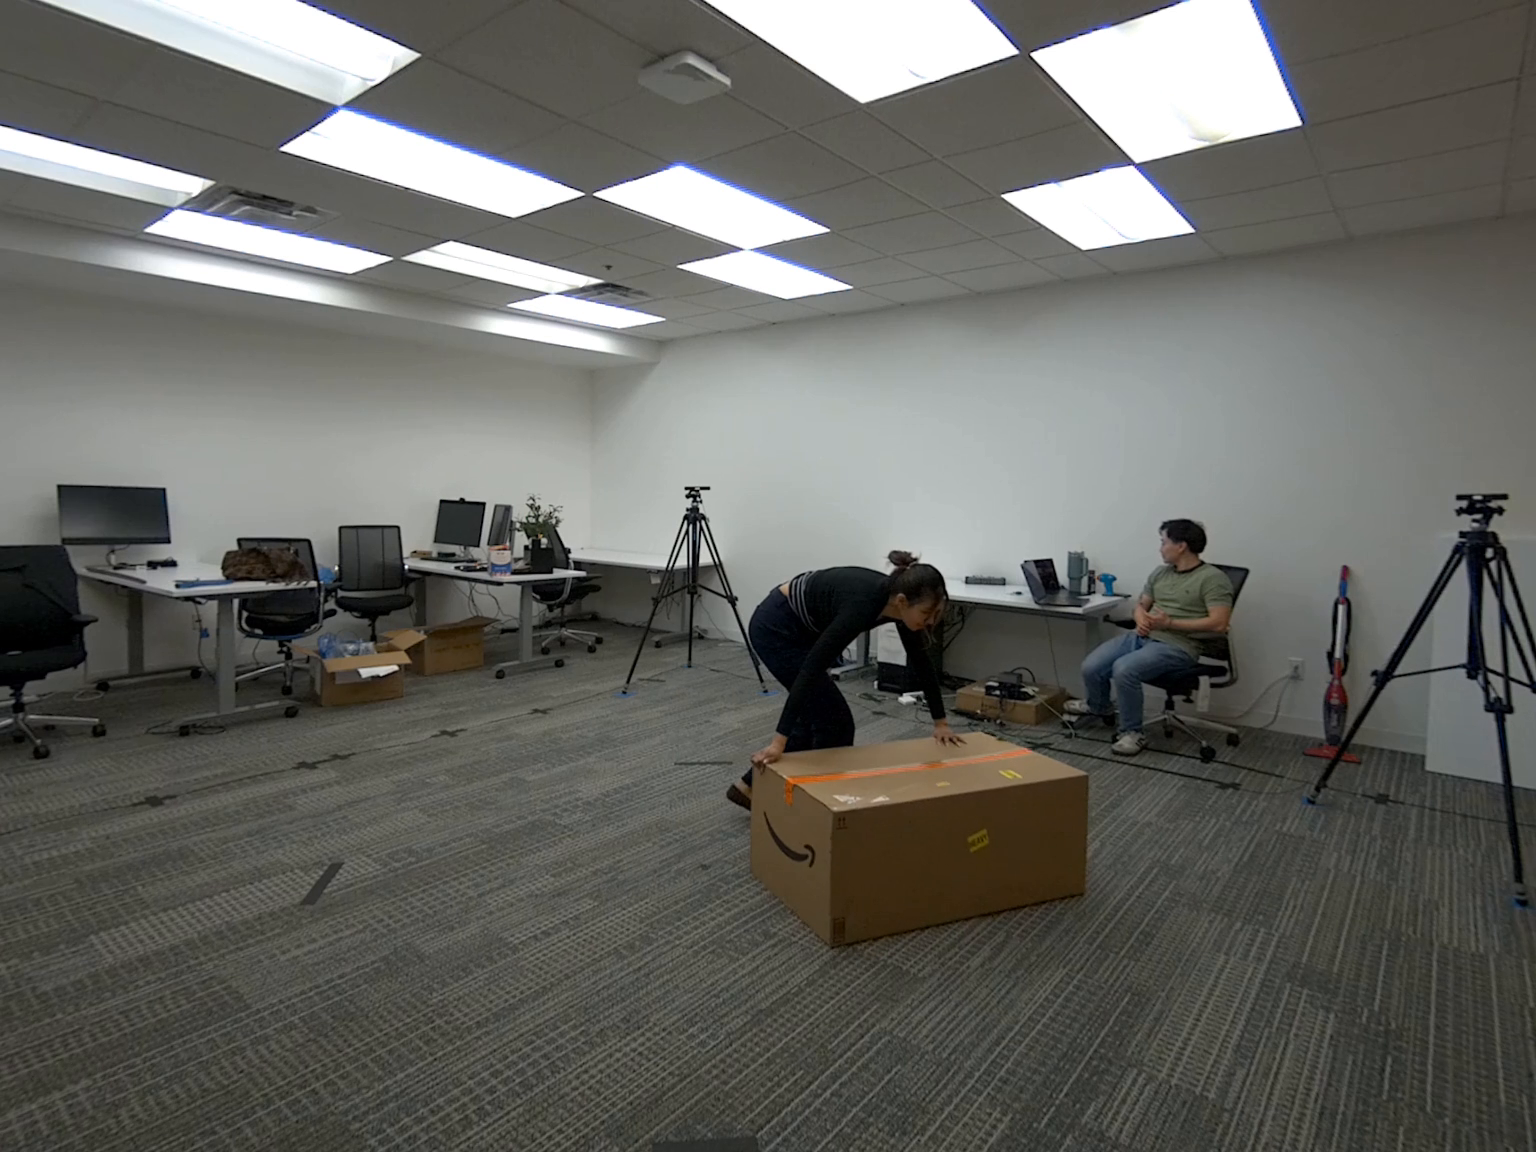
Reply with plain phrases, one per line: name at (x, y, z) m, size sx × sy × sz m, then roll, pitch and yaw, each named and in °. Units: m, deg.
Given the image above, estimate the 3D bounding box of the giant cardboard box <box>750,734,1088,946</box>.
giant cardboard box at (0.516, 0.871, 3.015) m, size 1.003 × 0.425 × 0.592 m, roll -1°, pitch 4°, yaw -24°
